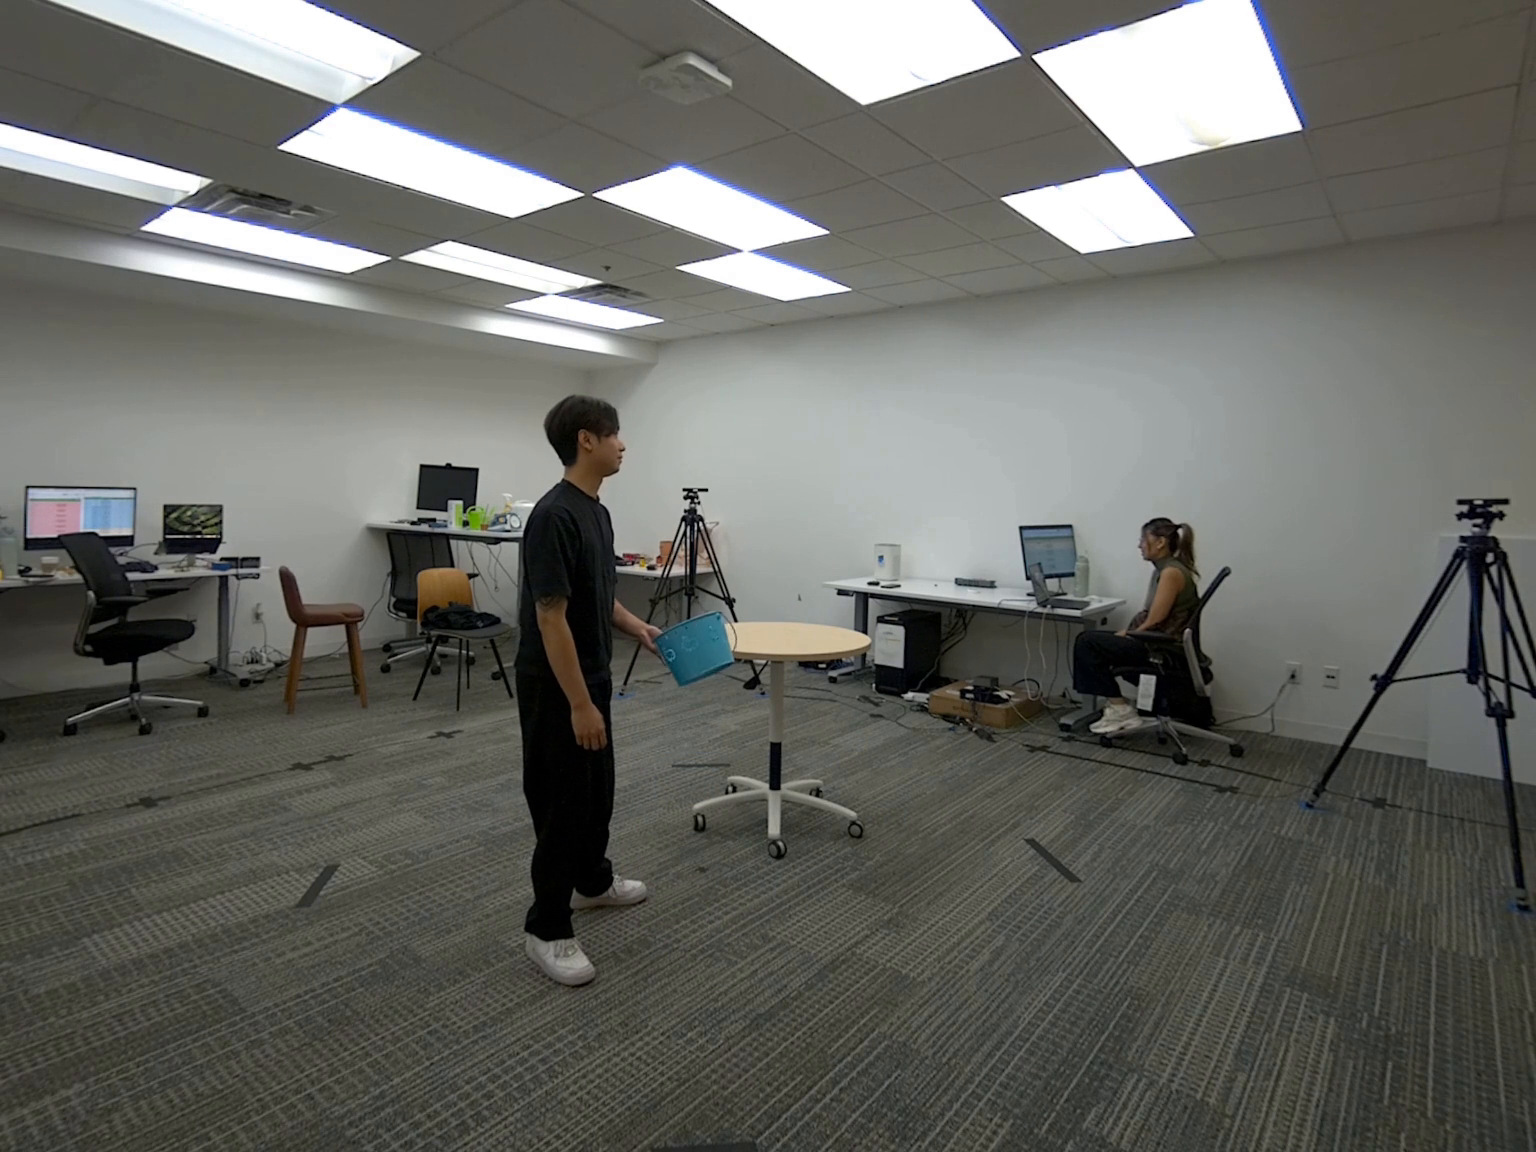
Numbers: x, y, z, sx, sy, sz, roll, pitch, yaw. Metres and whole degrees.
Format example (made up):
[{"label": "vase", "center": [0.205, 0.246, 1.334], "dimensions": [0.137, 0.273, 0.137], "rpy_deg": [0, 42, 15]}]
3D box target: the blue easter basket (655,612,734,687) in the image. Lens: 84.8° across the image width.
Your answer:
[{"label": "blue easter basket", "center": [-0.223, 0.225, 2.528], "dimensions": [0.243, 0.158, 0.241], "rpy_deg": [-23, -9, -6]}]
